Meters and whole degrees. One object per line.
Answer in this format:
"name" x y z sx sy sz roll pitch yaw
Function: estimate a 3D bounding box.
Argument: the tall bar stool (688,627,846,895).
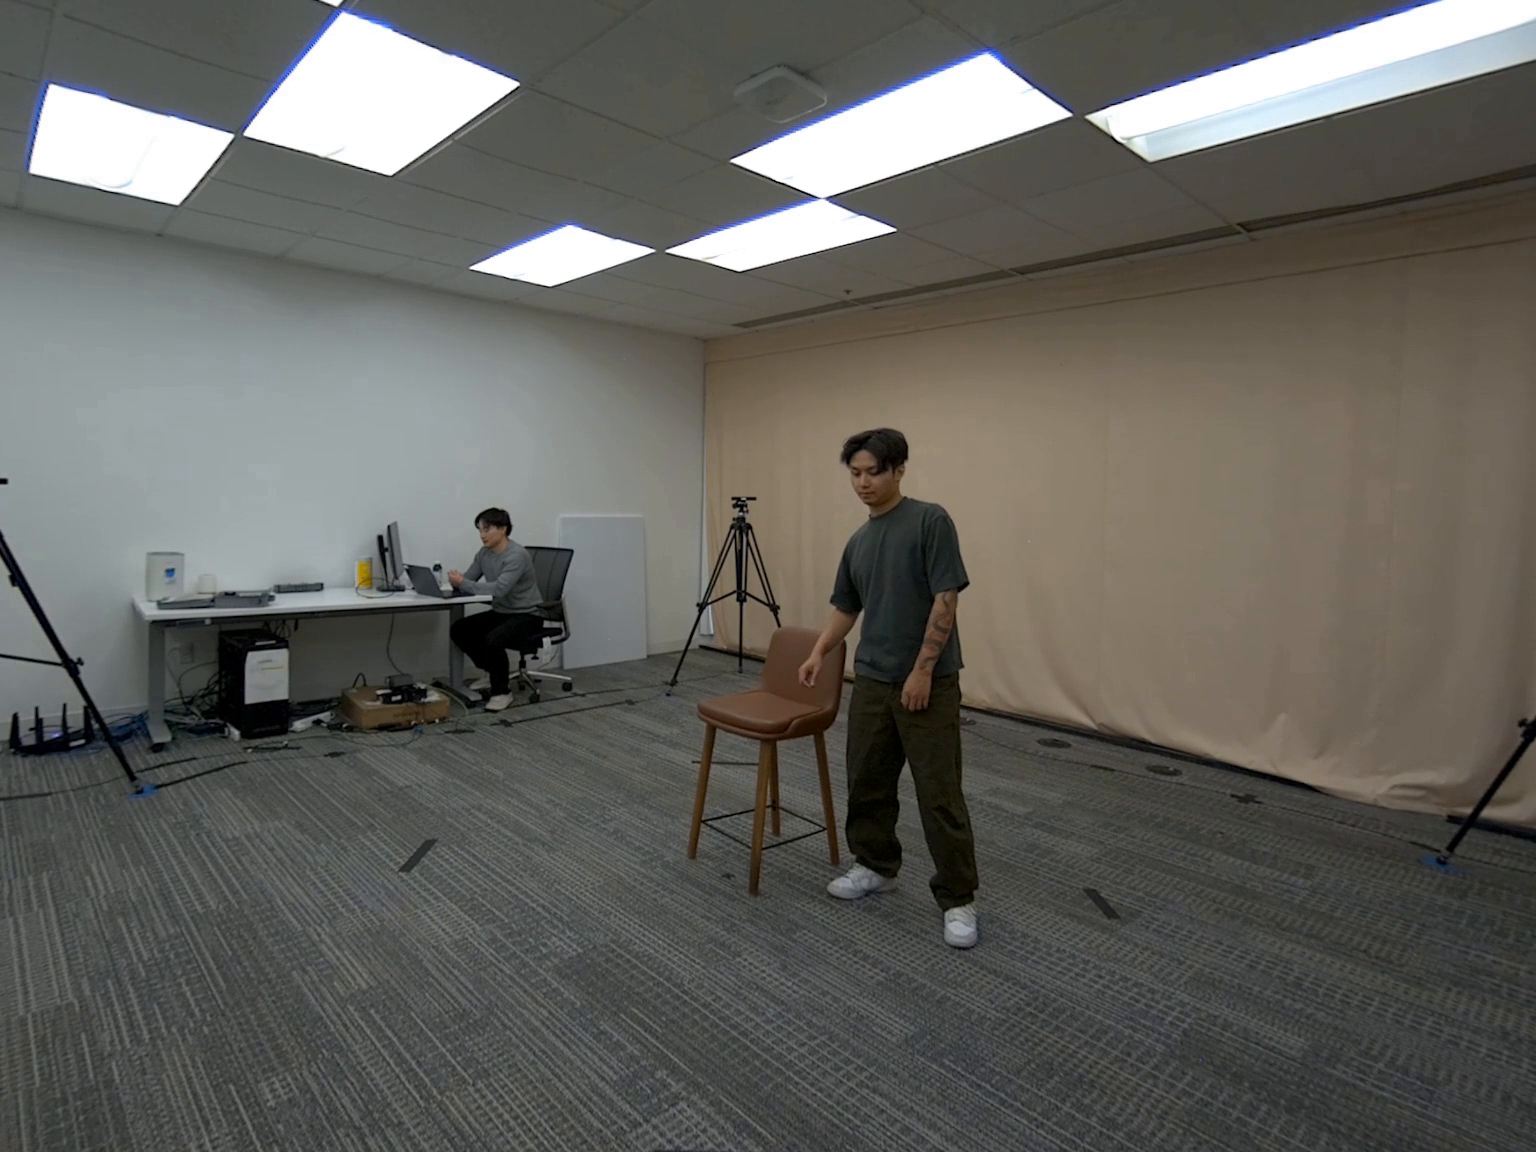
"tall bar stool" -0.007 0.664 3.224 0.456 0.889 0.468 1 2 -39
